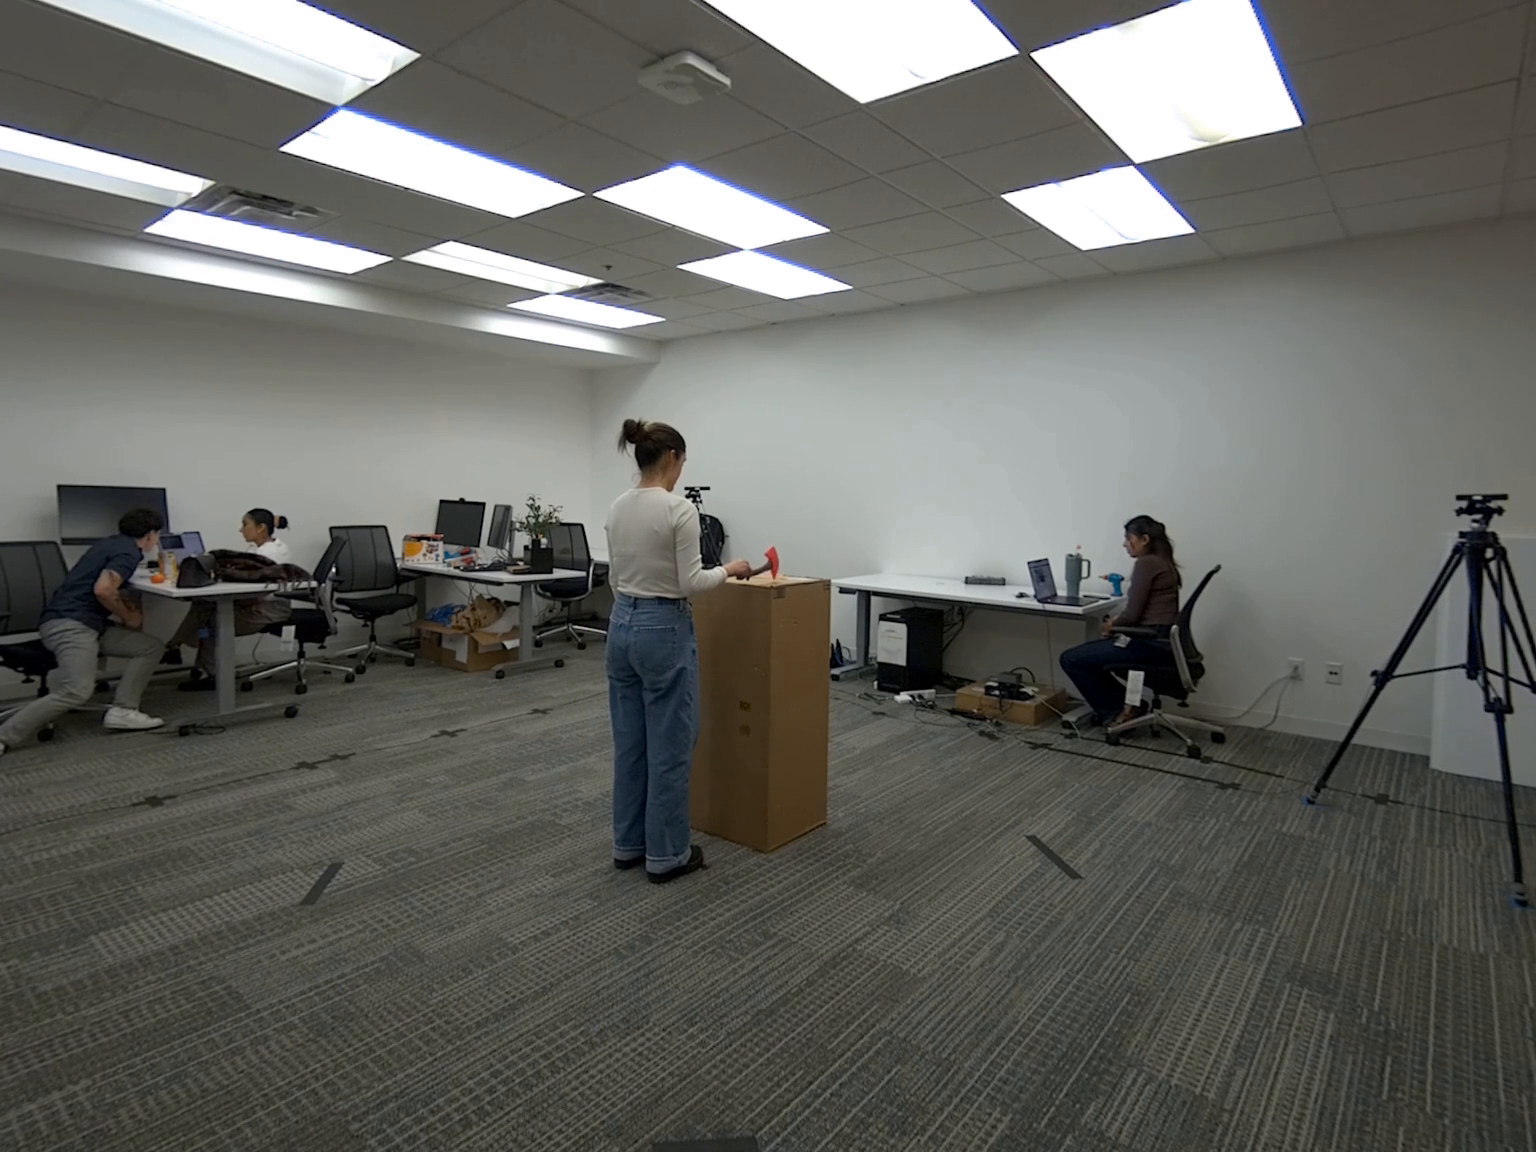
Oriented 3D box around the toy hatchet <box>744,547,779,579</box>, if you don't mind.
[{"bbox_3d":[-0.047,-0.062,3.268,0.031,0.130,0.261,12,6,39],"label":"toy hatchet"}]
